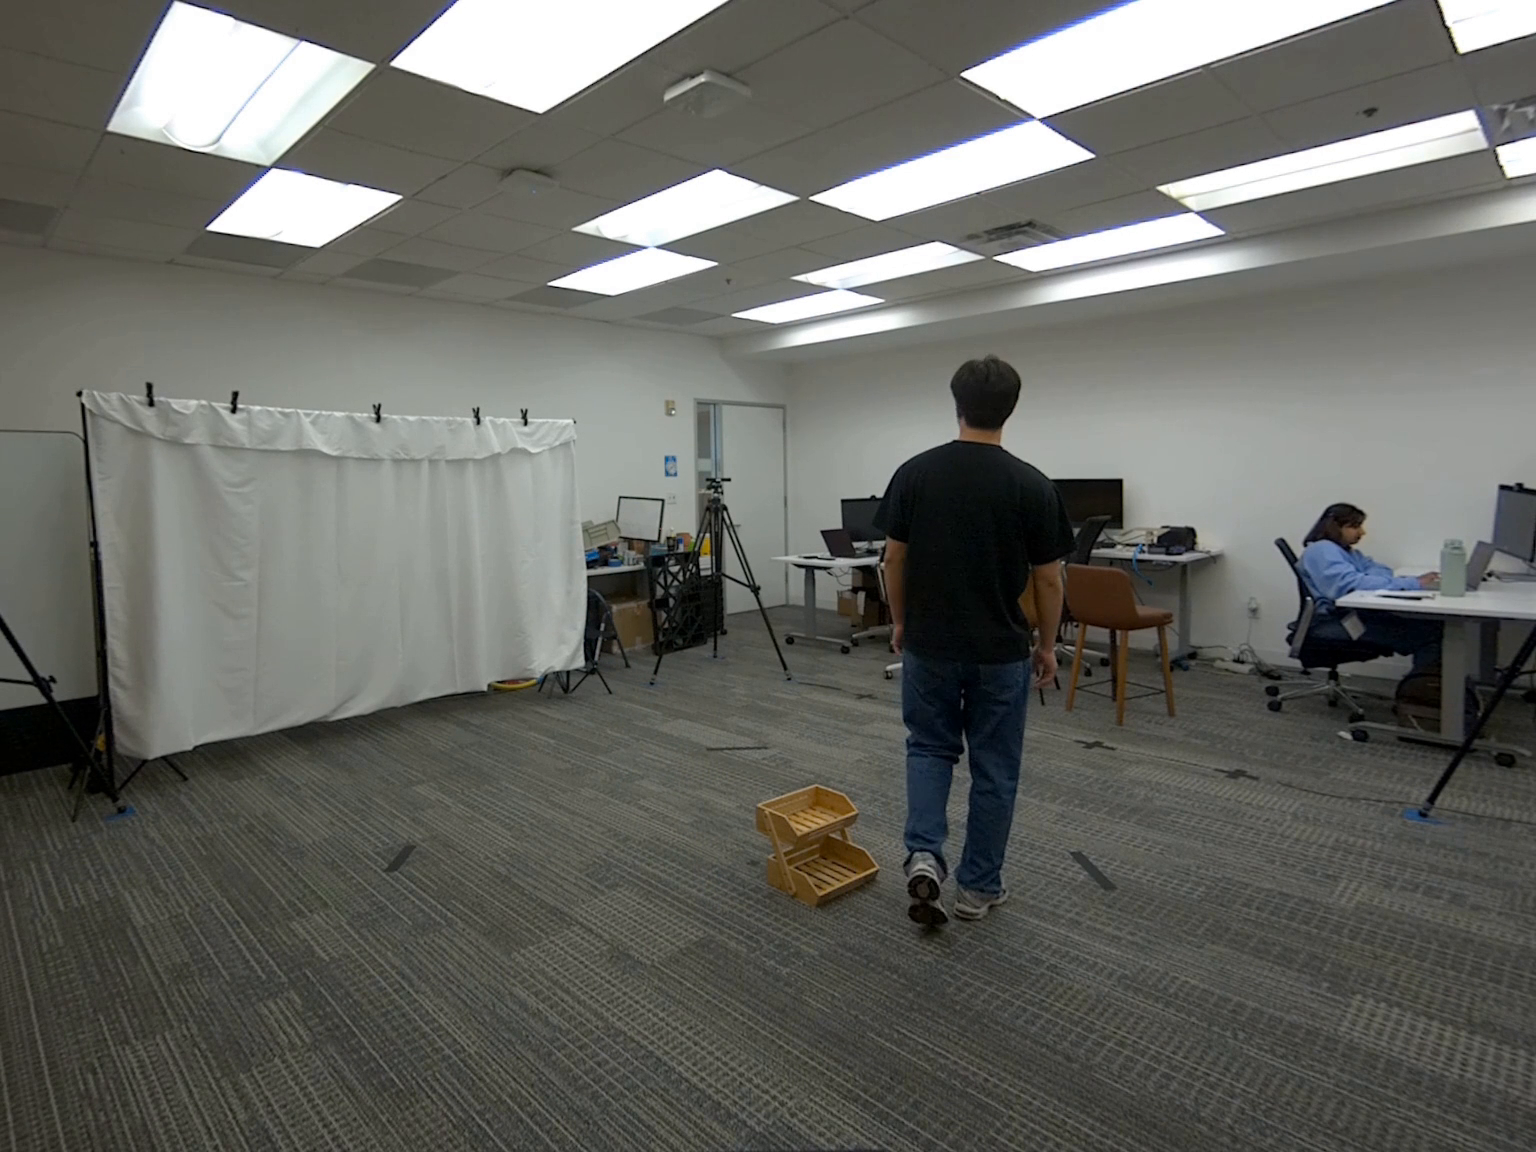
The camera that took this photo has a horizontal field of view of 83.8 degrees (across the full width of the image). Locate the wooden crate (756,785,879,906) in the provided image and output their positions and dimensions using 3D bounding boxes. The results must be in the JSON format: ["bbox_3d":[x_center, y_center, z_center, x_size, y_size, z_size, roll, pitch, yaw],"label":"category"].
[{"bbox_3d":[0.177,0.922,2.961,0.316,0.272,0.311,-6,6,-41],"label":"wooden crate"}]
